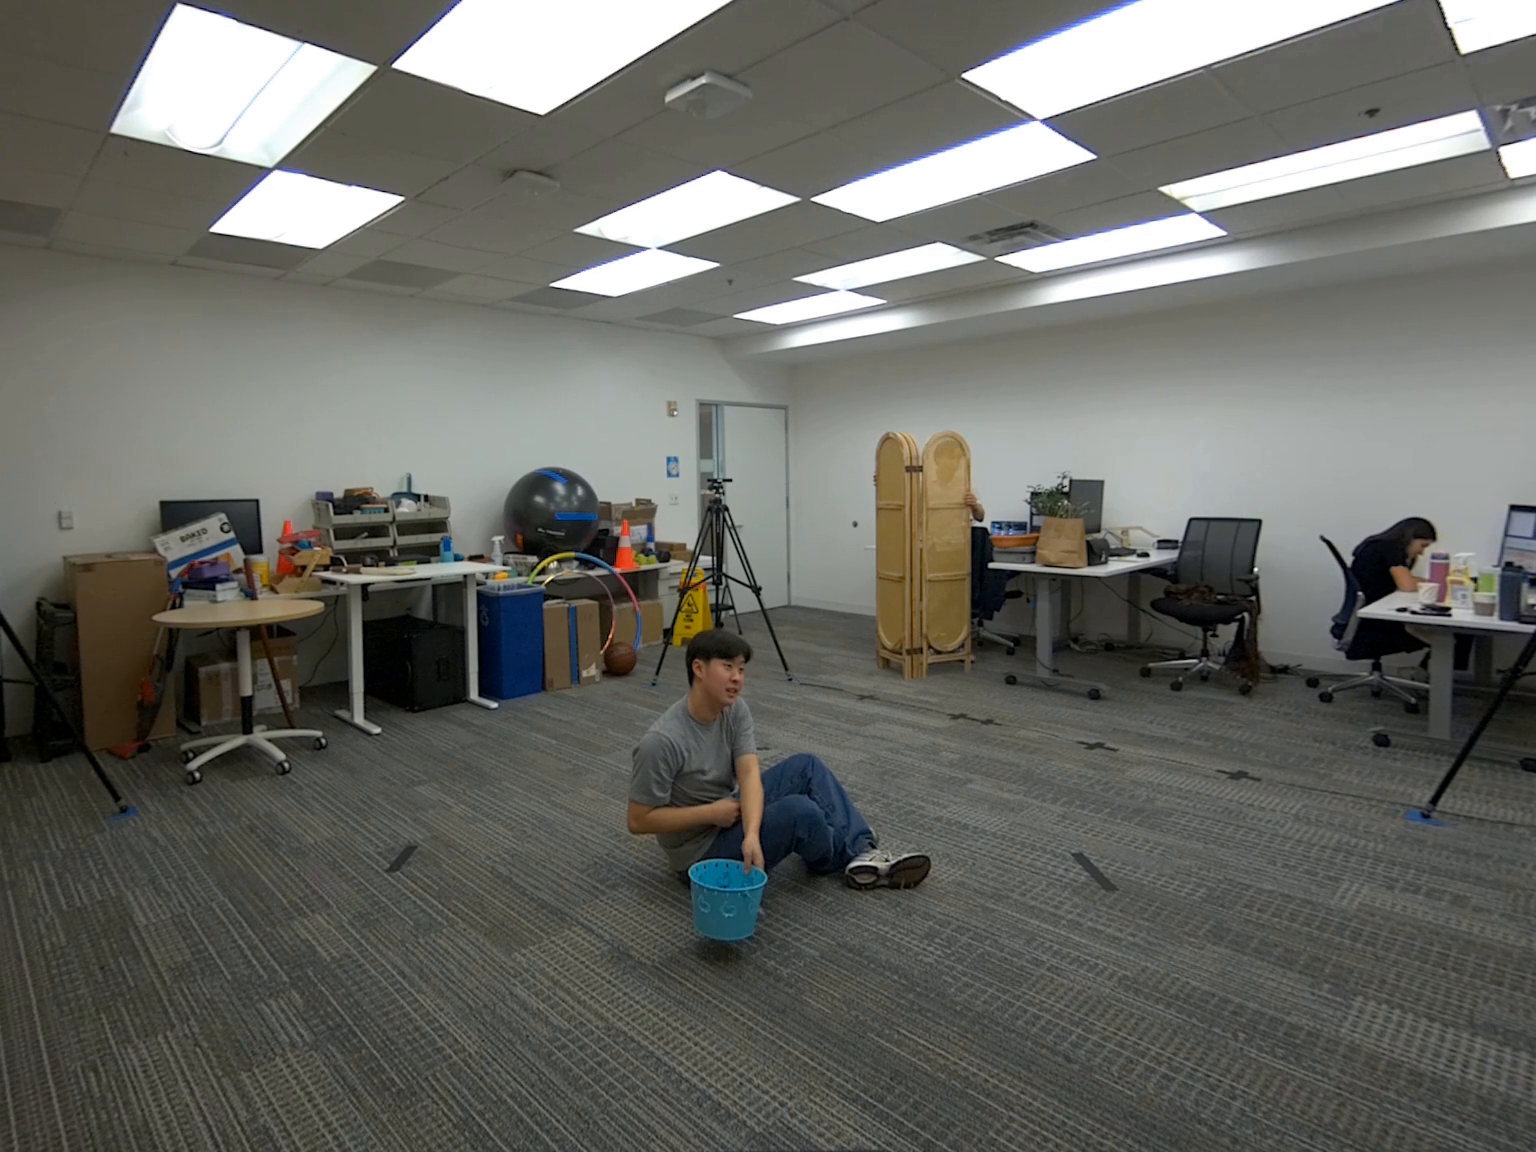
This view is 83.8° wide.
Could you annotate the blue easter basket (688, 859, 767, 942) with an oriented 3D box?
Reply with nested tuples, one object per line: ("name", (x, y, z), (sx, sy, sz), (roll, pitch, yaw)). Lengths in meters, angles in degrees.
("blue easter basket", (-0.106, 0.946, 2.515), (0.243, 0.156, 0.244), (2, 1, -2))
